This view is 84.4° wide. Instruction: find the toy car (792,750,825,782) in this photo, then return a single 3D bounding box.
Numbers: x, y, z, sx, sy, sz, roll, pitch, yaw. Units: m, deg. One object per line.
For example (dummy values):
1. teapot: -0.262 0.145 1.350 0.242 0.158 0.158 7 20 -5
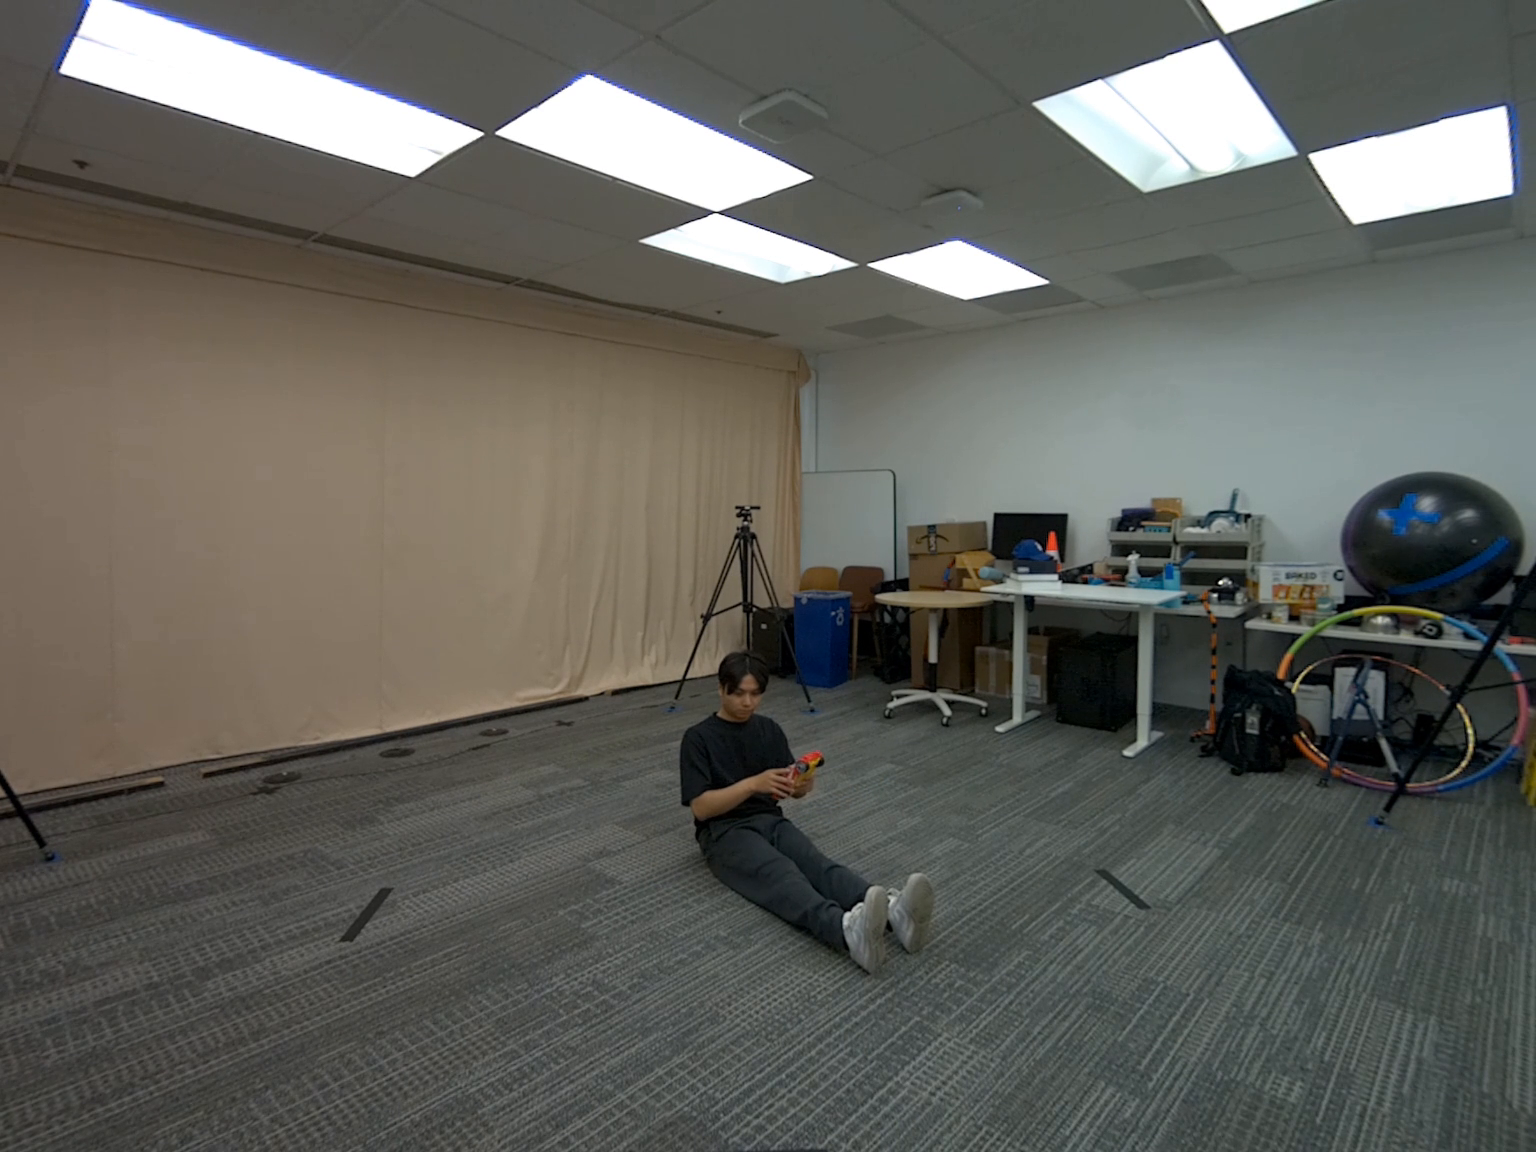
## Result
1. toy car: 0.106 0.727 3.047 0.126 0.085 0.257 -6 -31 -46
